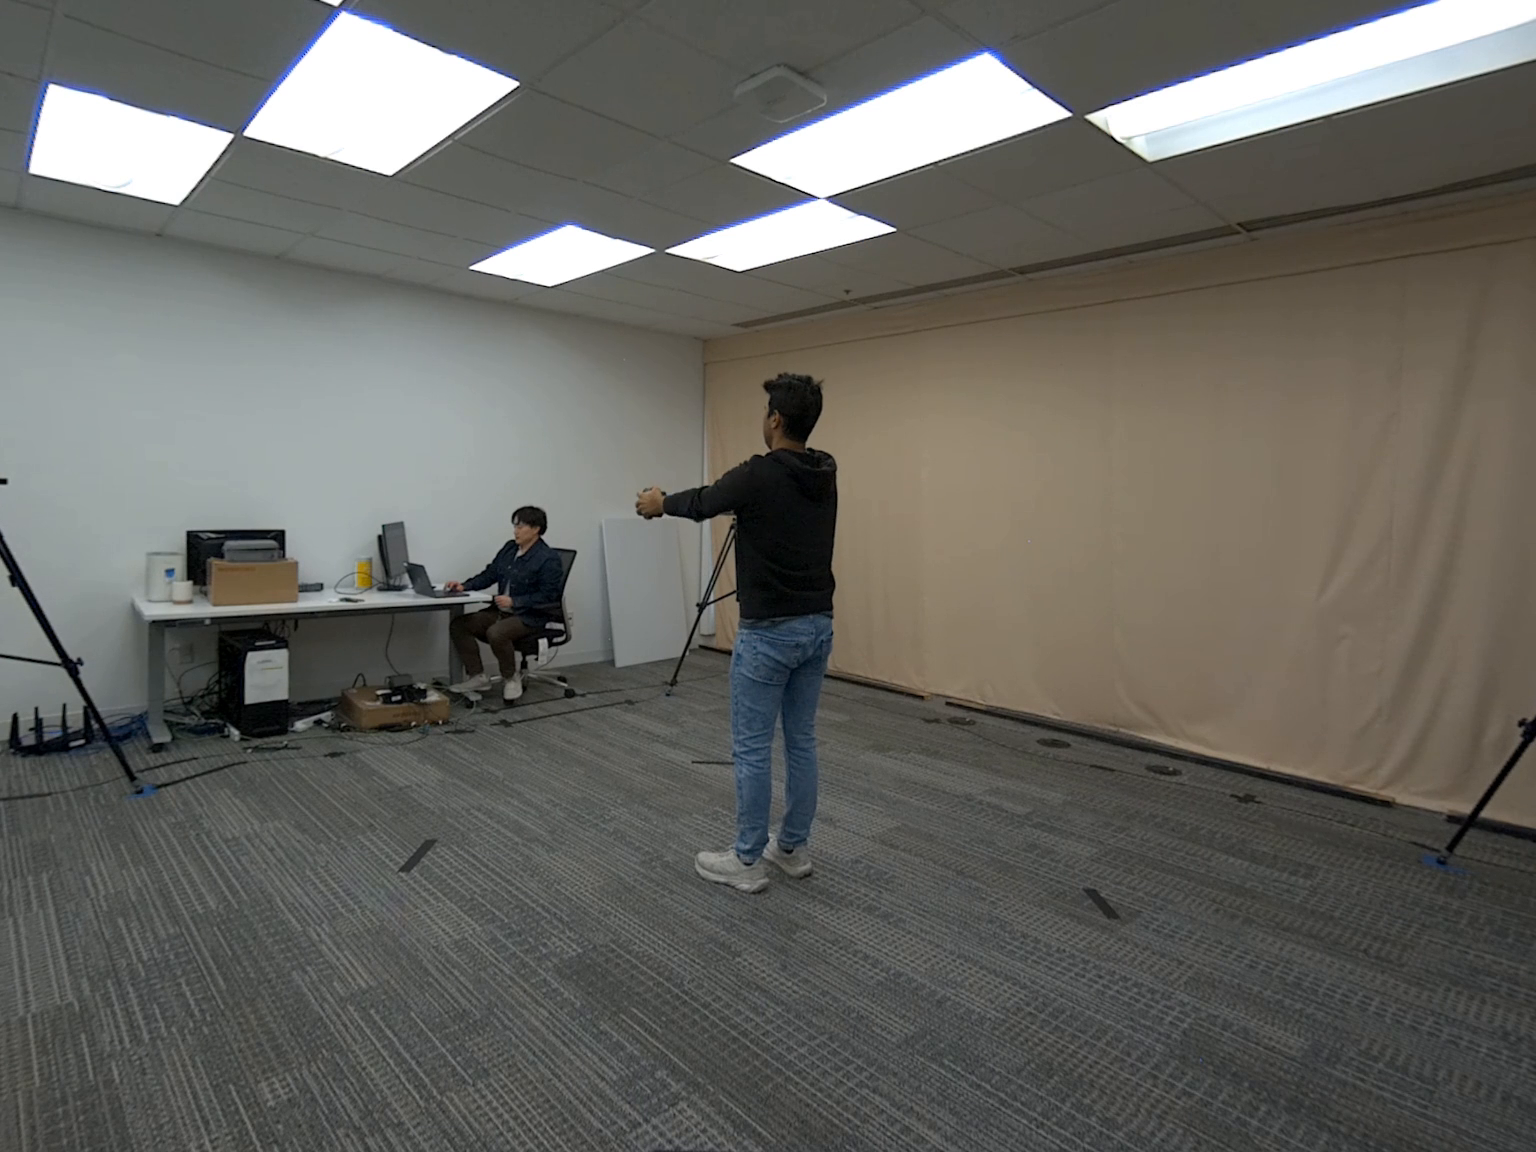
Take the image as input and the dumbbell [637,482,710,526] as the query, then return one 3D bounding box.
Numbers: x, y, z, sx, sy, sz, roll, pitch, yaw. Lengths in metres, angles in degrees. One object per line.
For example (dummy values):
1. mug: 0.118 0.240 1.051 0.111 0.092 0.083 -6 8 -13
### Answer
1. dumbbell: -0.373 -0.292 3.444 0.286 0.125 0.110 1 -20 -42
